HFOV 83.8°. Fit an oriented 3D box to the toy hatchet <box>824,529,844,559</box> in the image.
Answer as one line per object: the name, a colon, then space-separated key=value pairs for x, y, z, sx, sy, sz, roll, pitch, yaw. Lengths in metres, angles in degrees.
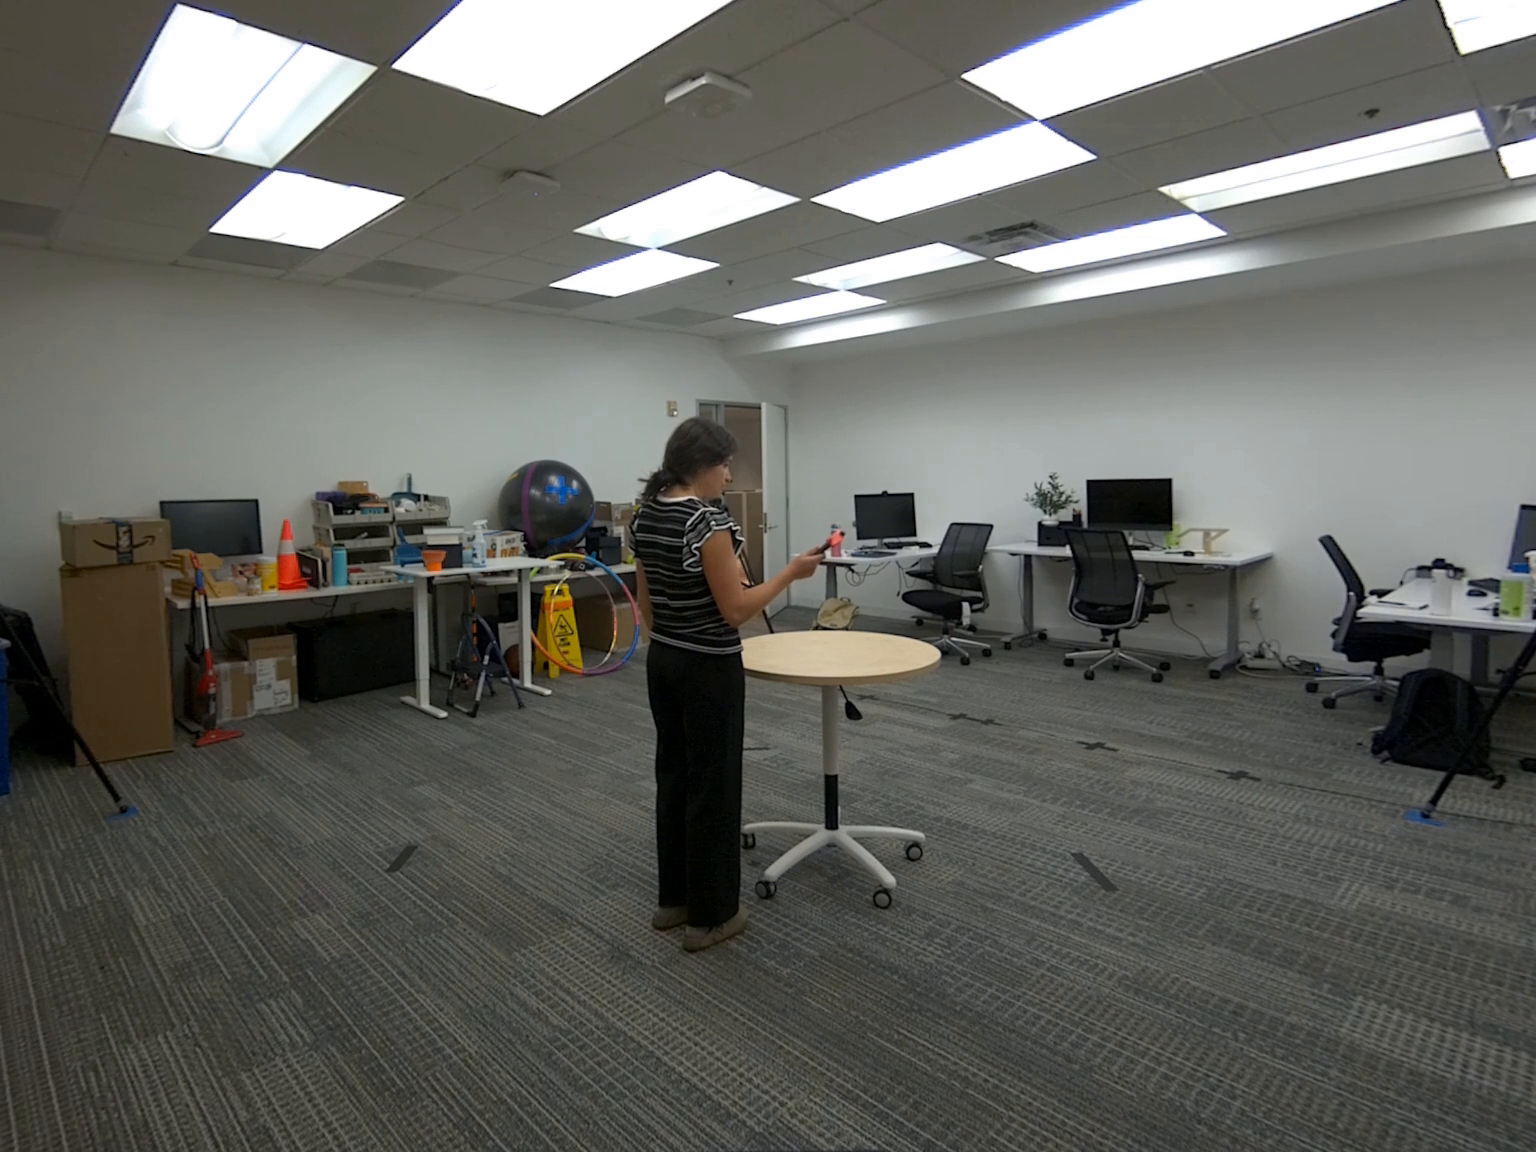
toy hatchet: x=0.142 y=-0.074 z=2.628 sx=0.272 sy=0.029 sz=0.131 roll=-33 pitch=9 yaw=44
